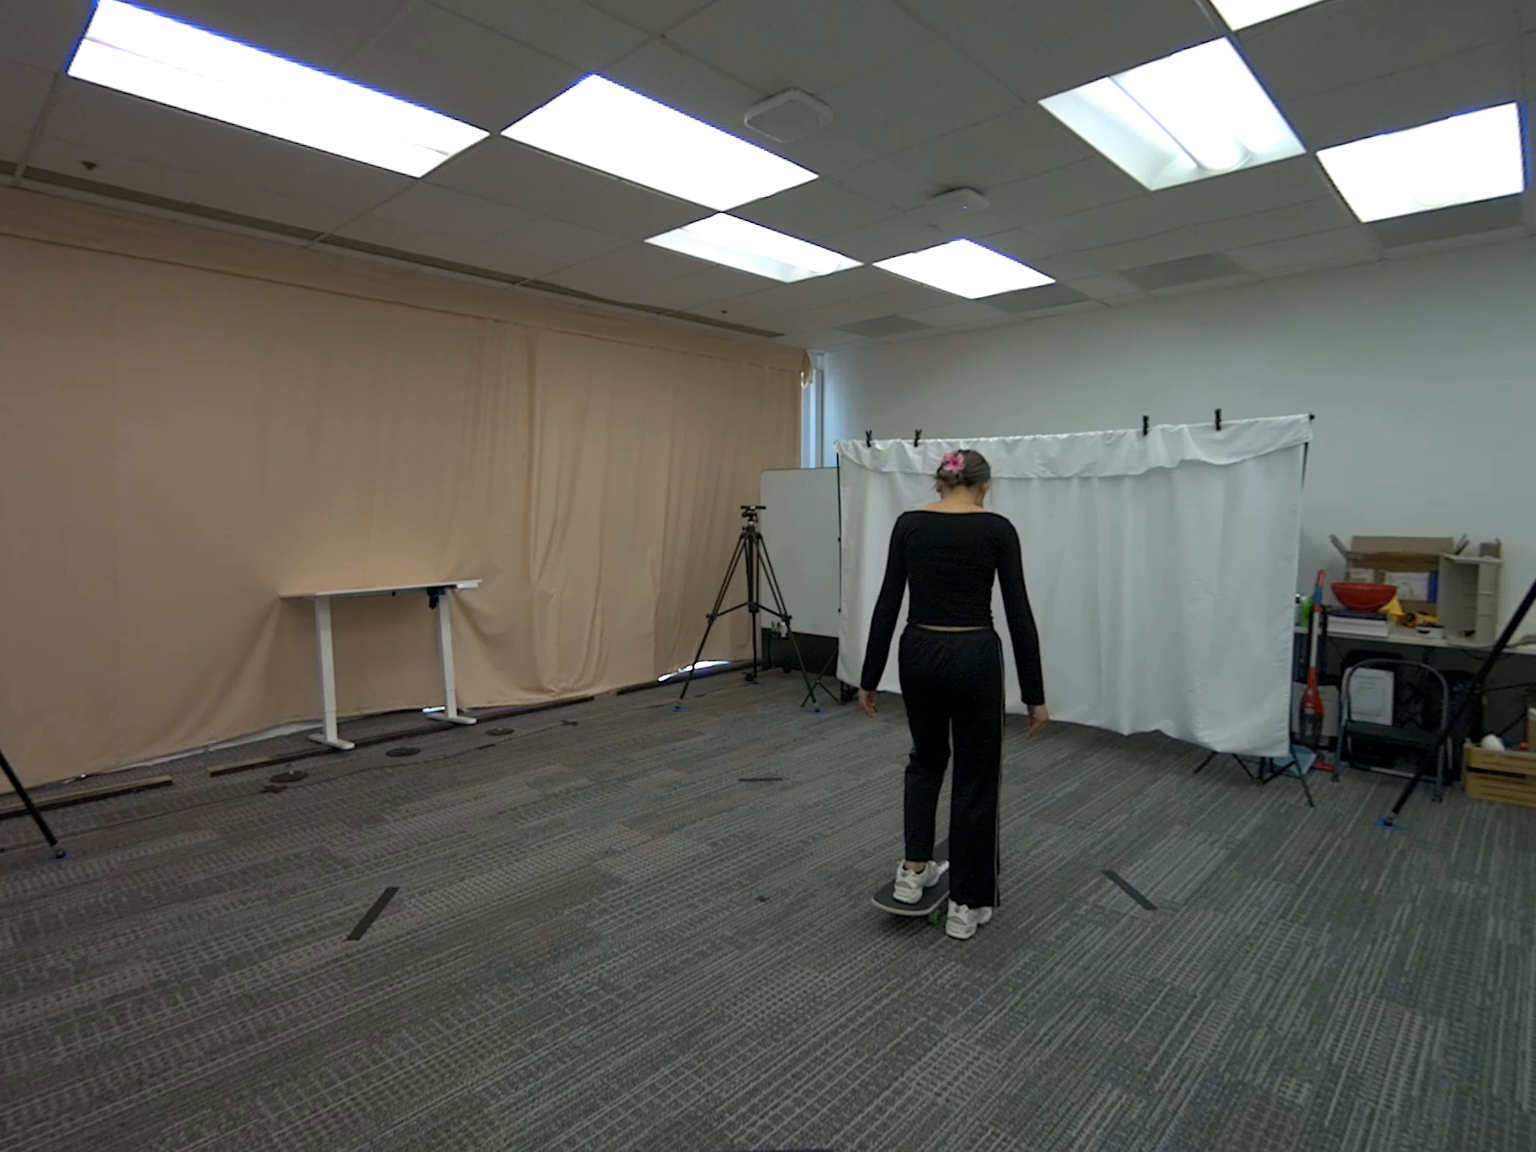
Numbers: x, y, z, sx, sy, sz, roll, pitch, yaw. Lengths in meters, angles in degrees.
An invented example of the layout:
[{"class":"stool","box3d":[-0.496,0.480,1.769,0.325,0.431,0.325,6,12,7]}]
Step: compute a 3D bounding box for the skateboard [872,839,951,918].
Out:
[{"class":"skateboard","box3d":[0.606,1.091,3.005,0.199,0.110,0.763,2,6,36]}]
